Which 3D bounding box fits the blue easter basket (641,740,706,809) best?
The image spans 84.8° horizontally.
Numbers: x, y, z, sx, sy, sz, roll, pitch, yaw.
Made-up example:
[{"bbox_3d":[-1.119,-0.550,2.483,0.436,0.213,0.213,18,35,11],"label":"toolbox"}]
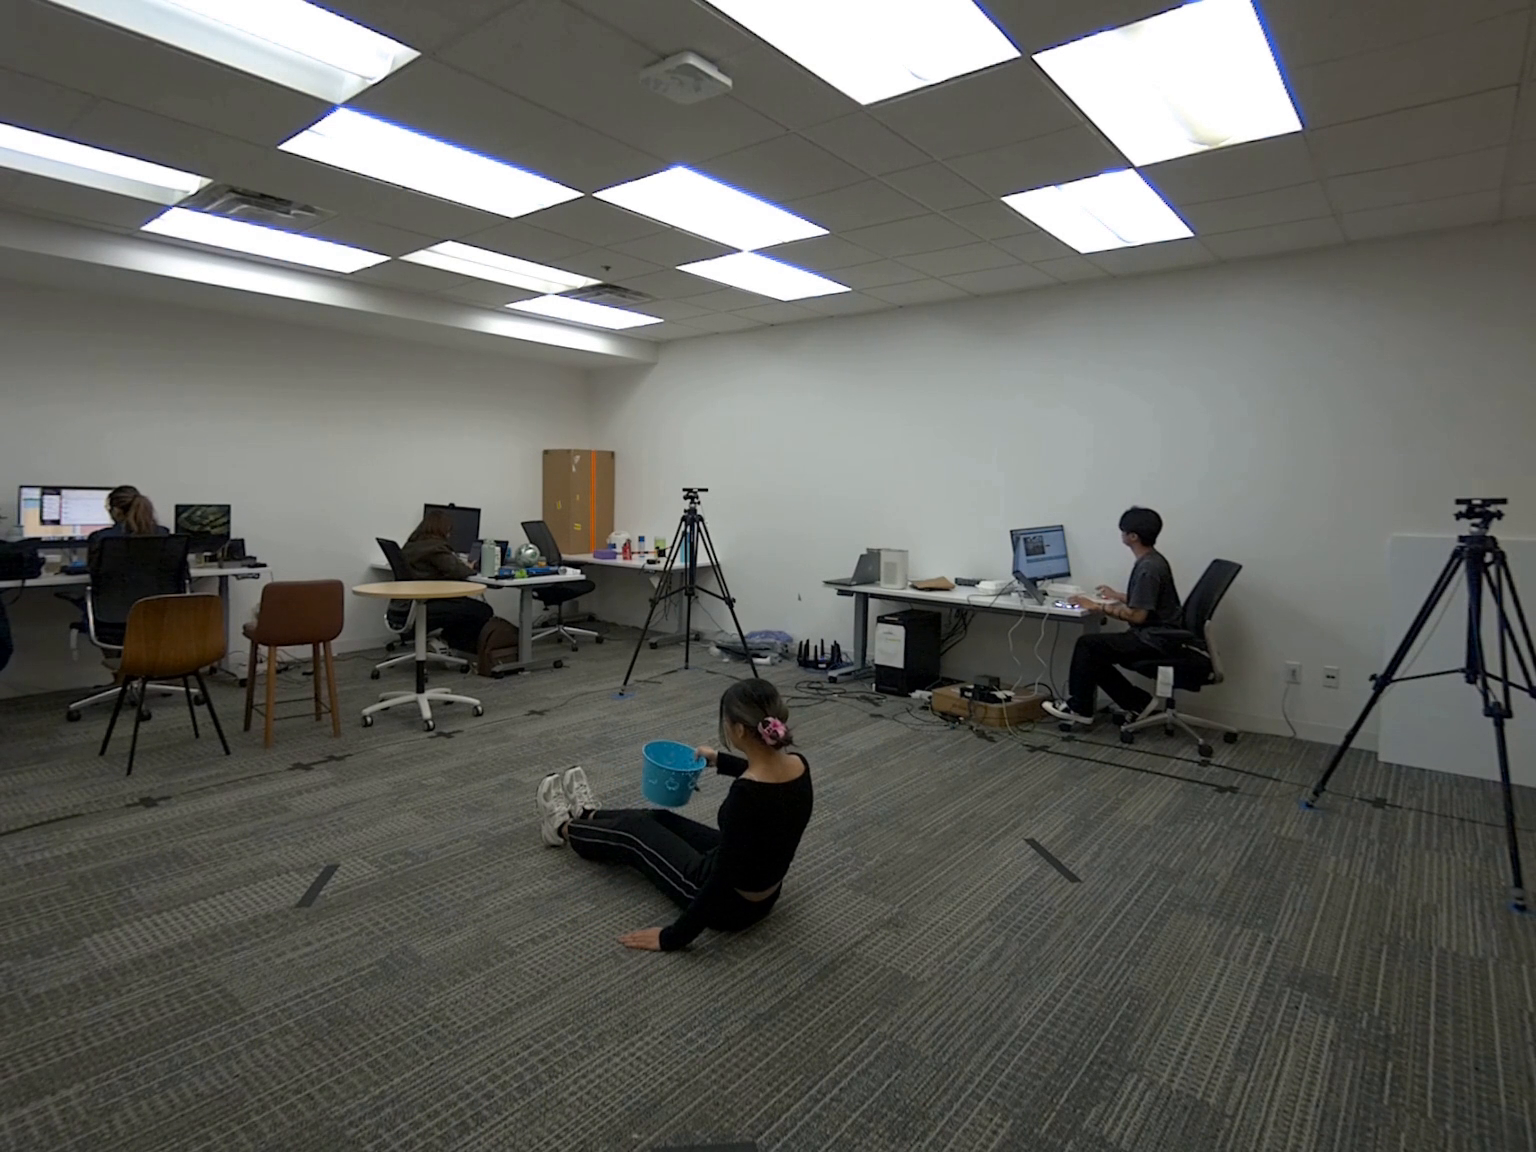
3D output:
[{"bbox_3d":[-0.347,0.714,3.042,0.243,0.155,0.246,11,11,-4],"label":"blue easter basket"}]
